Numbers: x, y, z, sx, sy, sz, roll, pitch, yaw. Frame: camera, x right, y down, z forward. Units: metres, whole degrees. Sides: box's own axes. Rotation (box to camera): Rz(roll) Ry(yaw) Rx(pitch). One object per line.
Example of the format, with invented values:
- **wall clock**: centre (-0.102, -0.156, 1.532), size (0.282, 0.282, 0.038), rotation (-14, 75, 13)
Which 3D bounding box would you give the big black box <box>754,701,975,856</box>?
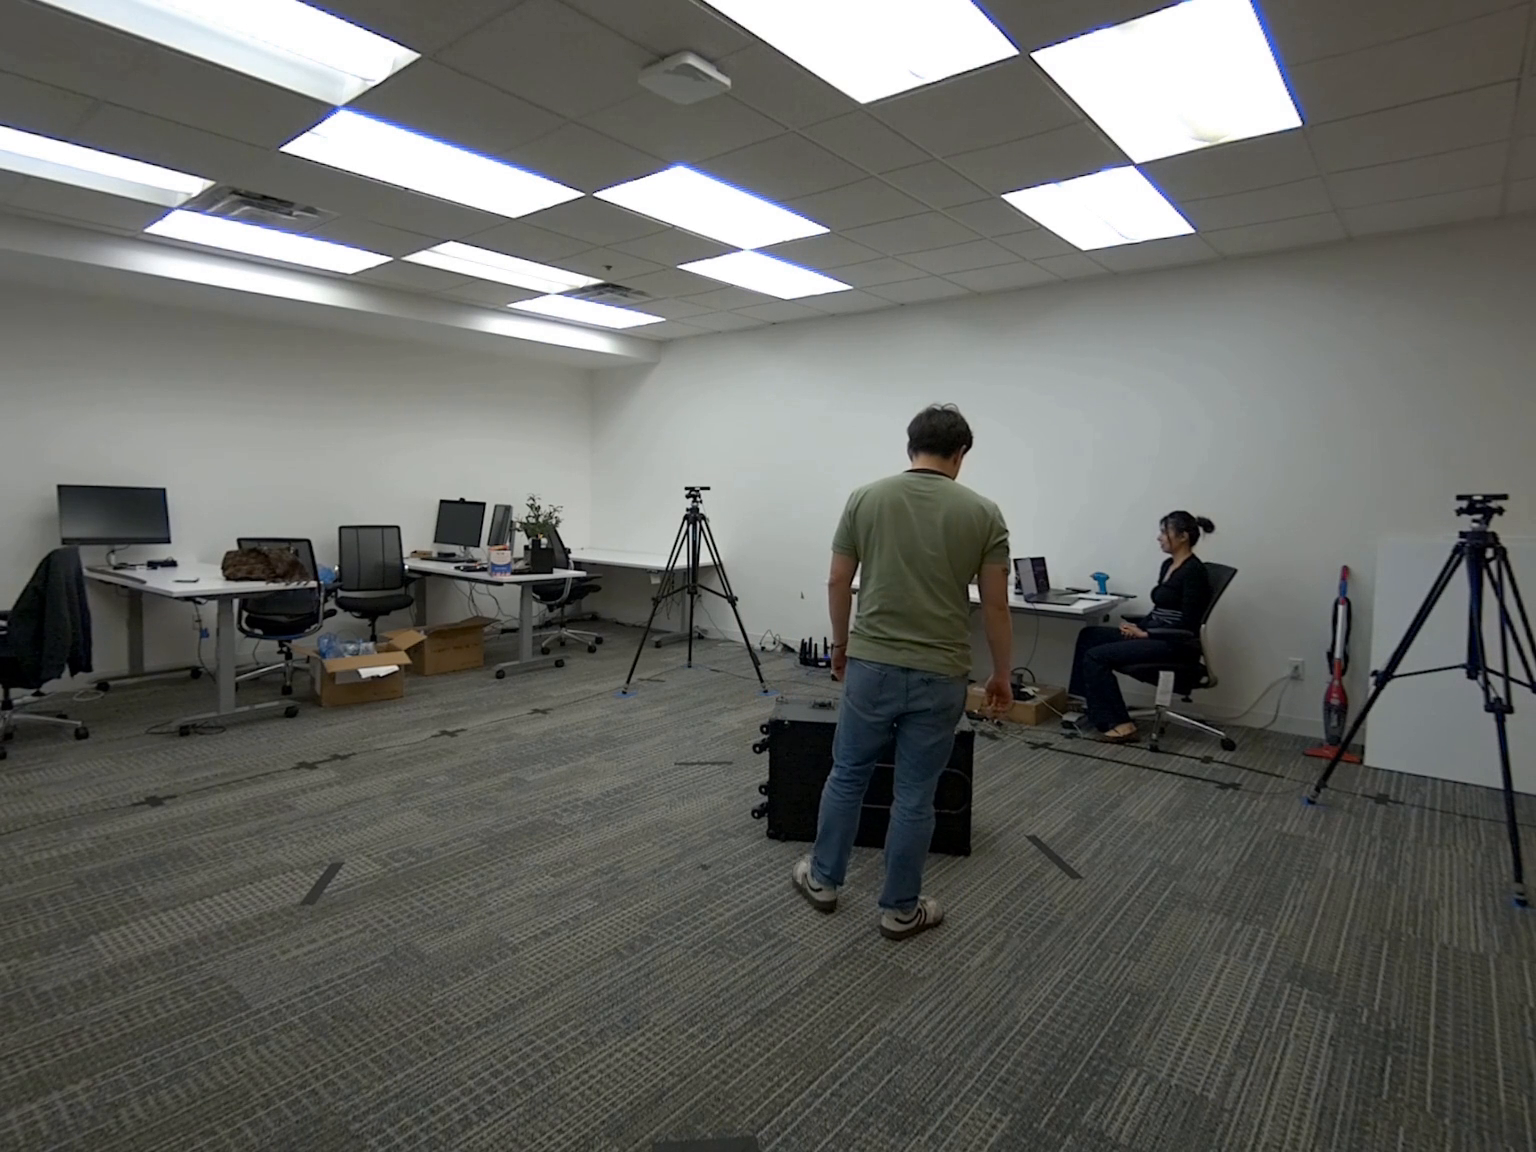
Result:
- **big black box**: centre (0.425, 0.789, 3.458), size (0.869, 0.519, 0.394), rotation (1, 4, 8)
